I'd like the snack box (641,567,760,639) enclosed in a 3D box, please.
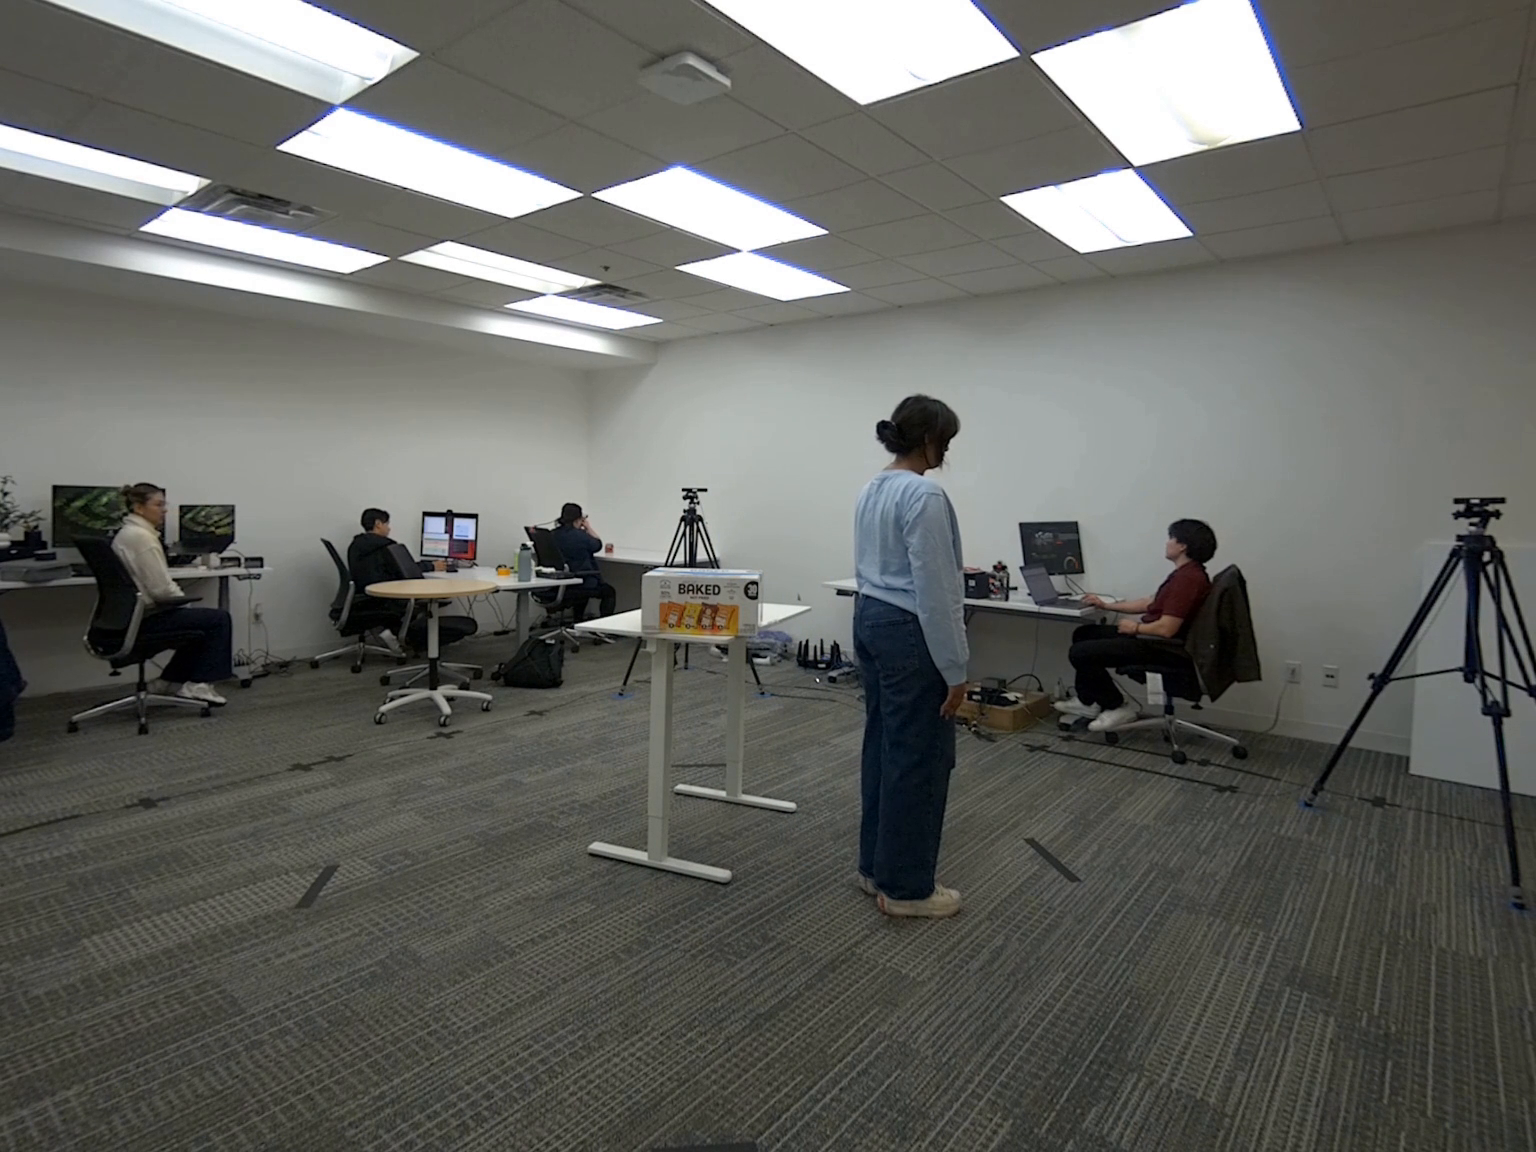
[{"bbox_3d":[-0.238,0.086,3.087,0.407,0.205,0.340,2,5,4],"label":"snack box"}]
